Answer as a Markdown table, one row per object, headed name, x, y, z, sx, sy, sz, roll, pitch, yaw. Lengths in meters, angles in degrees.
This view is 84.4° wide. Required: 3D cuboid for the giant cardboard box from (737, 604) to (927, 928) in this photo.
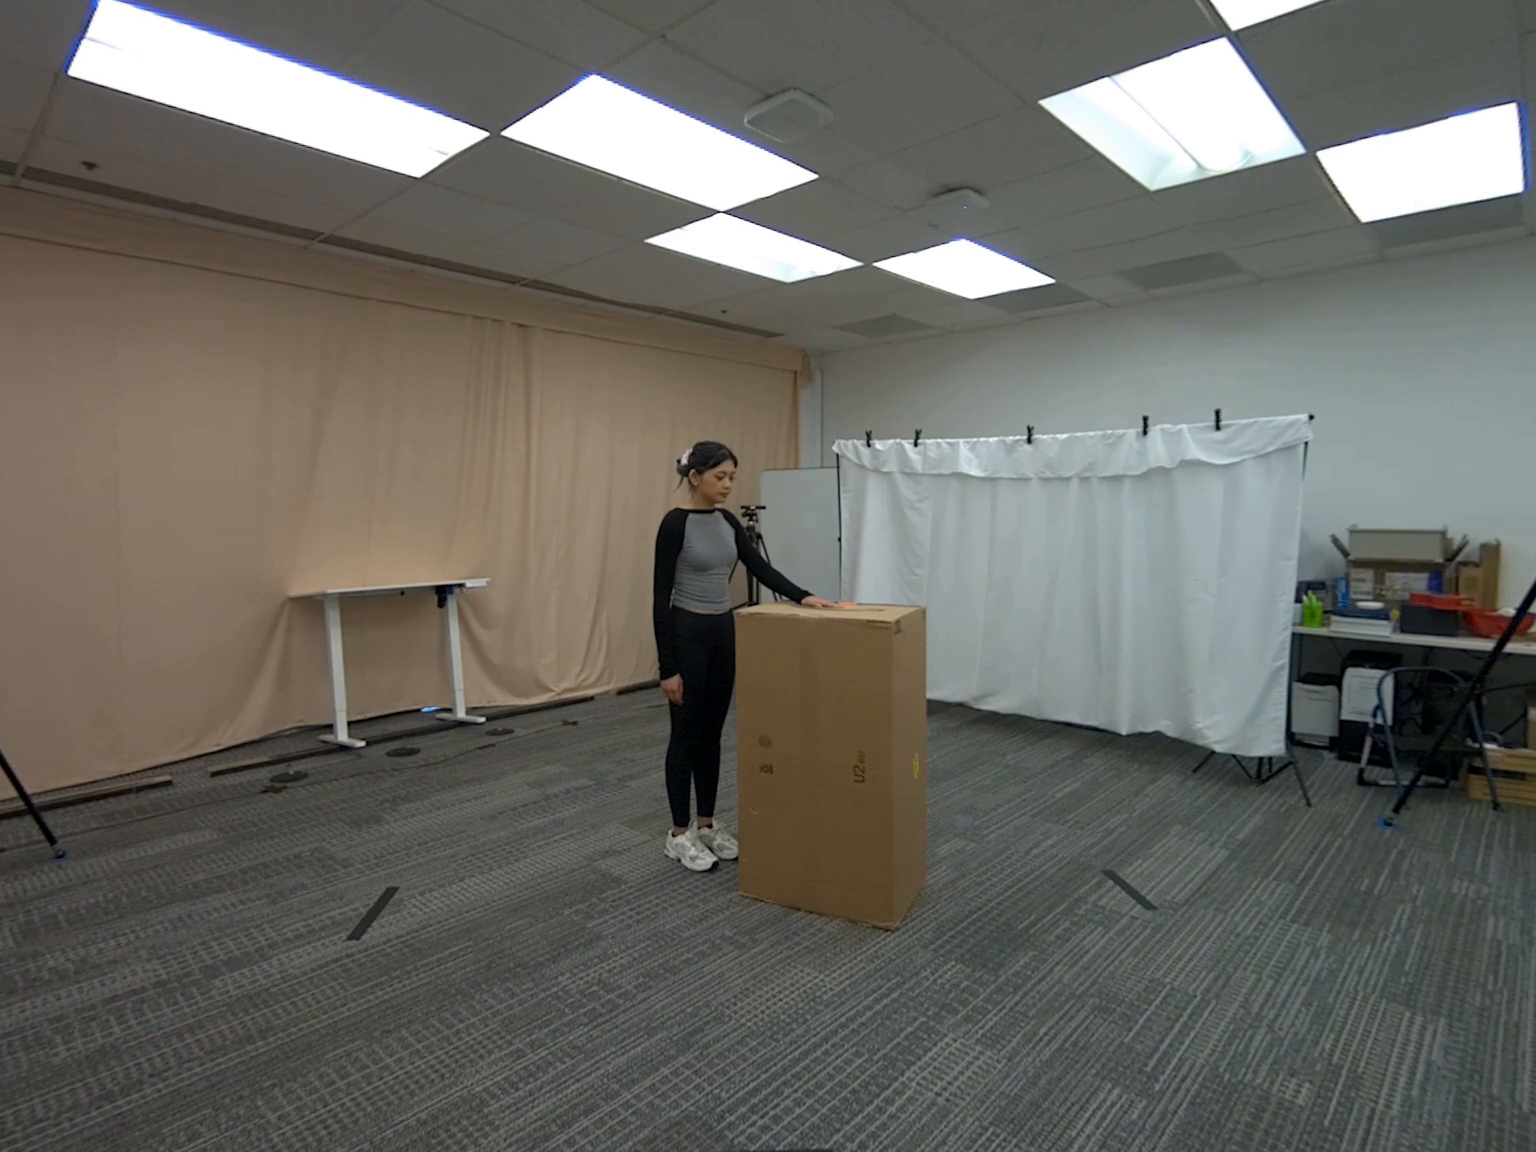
| name | x | y | z | sx | sy | sz | roll | pitch | yaw |
| --- | --- | --- | --- | --- | --- | --- | --- | --- | --- |
| giant cardboard box | 0.244 | 0.632 | 3.039 | 0.599 | 1.024 | 0.436 | 1 | 4 | 26 |
